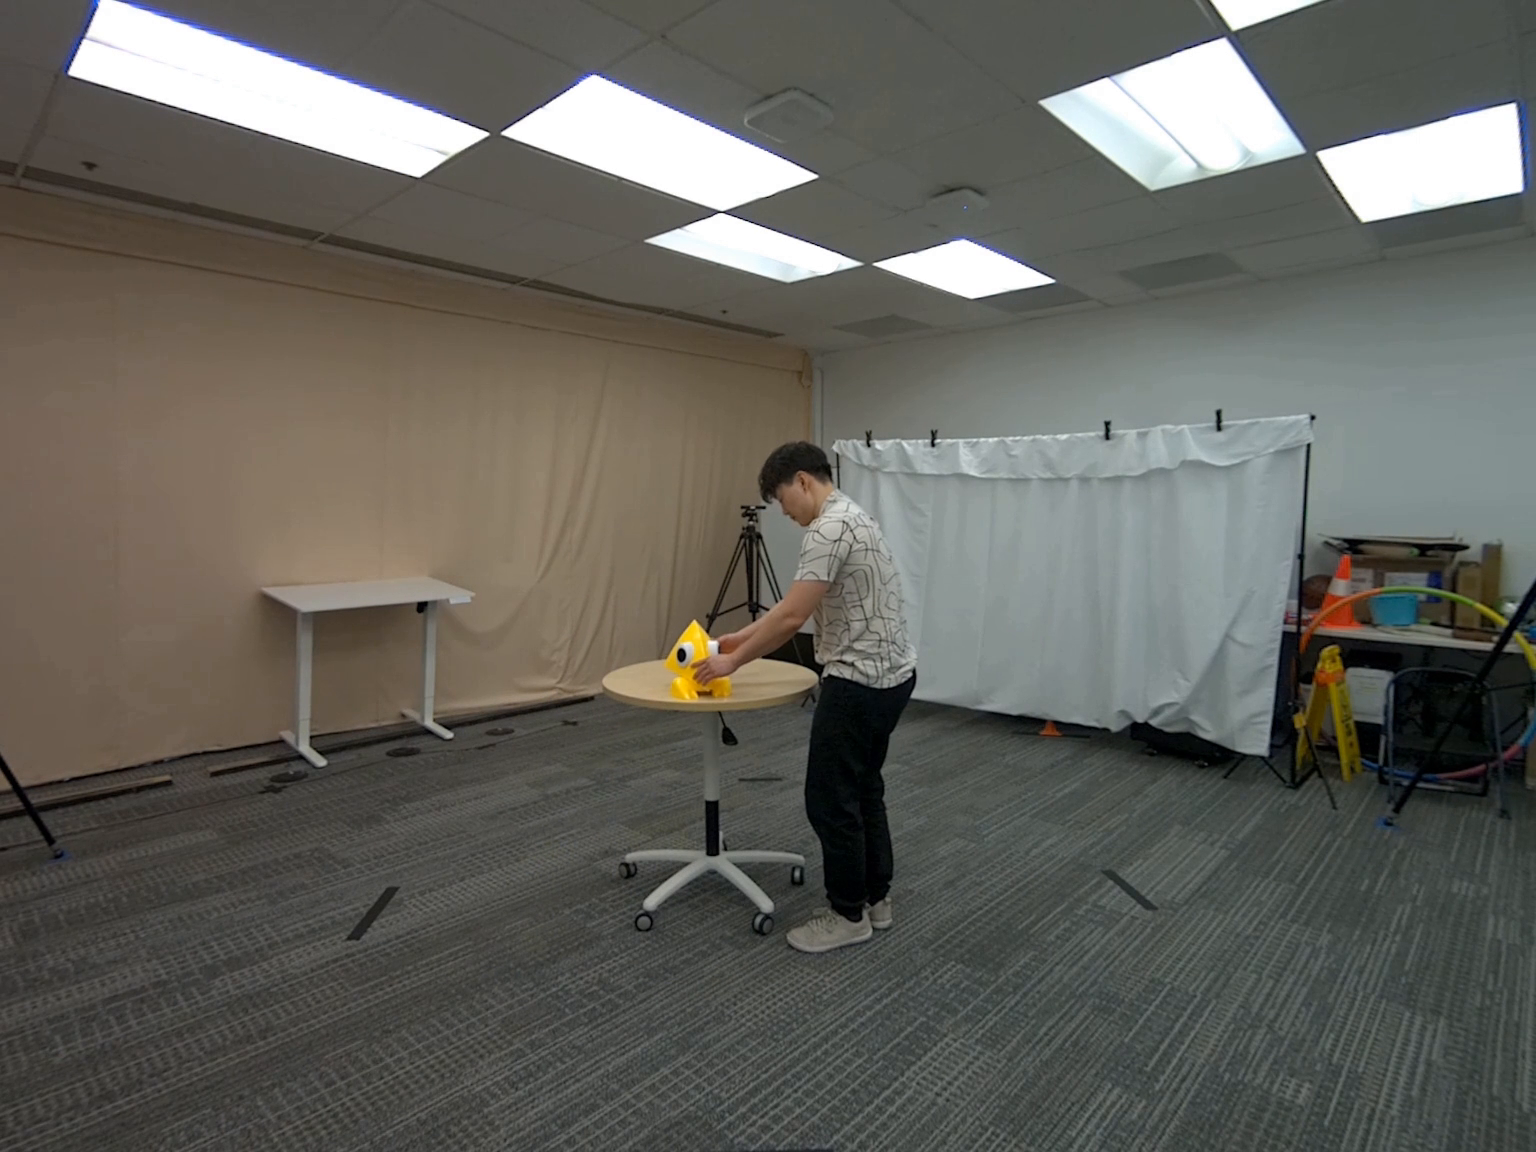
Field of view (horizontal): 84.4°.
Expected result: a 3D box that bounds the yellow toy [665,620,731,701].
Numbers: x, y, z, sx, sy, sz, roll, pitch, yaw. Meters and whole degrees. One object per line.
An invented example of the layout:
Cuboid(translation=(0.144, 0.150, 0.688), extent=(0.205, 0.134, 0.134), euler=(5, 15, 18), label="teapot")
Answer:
Cuboid(translation=(-0.220, 0.271, 2.758), extent=(0.201, 0.230, 0.197), euler=(-2, 5, -17), label="yellow toy")
